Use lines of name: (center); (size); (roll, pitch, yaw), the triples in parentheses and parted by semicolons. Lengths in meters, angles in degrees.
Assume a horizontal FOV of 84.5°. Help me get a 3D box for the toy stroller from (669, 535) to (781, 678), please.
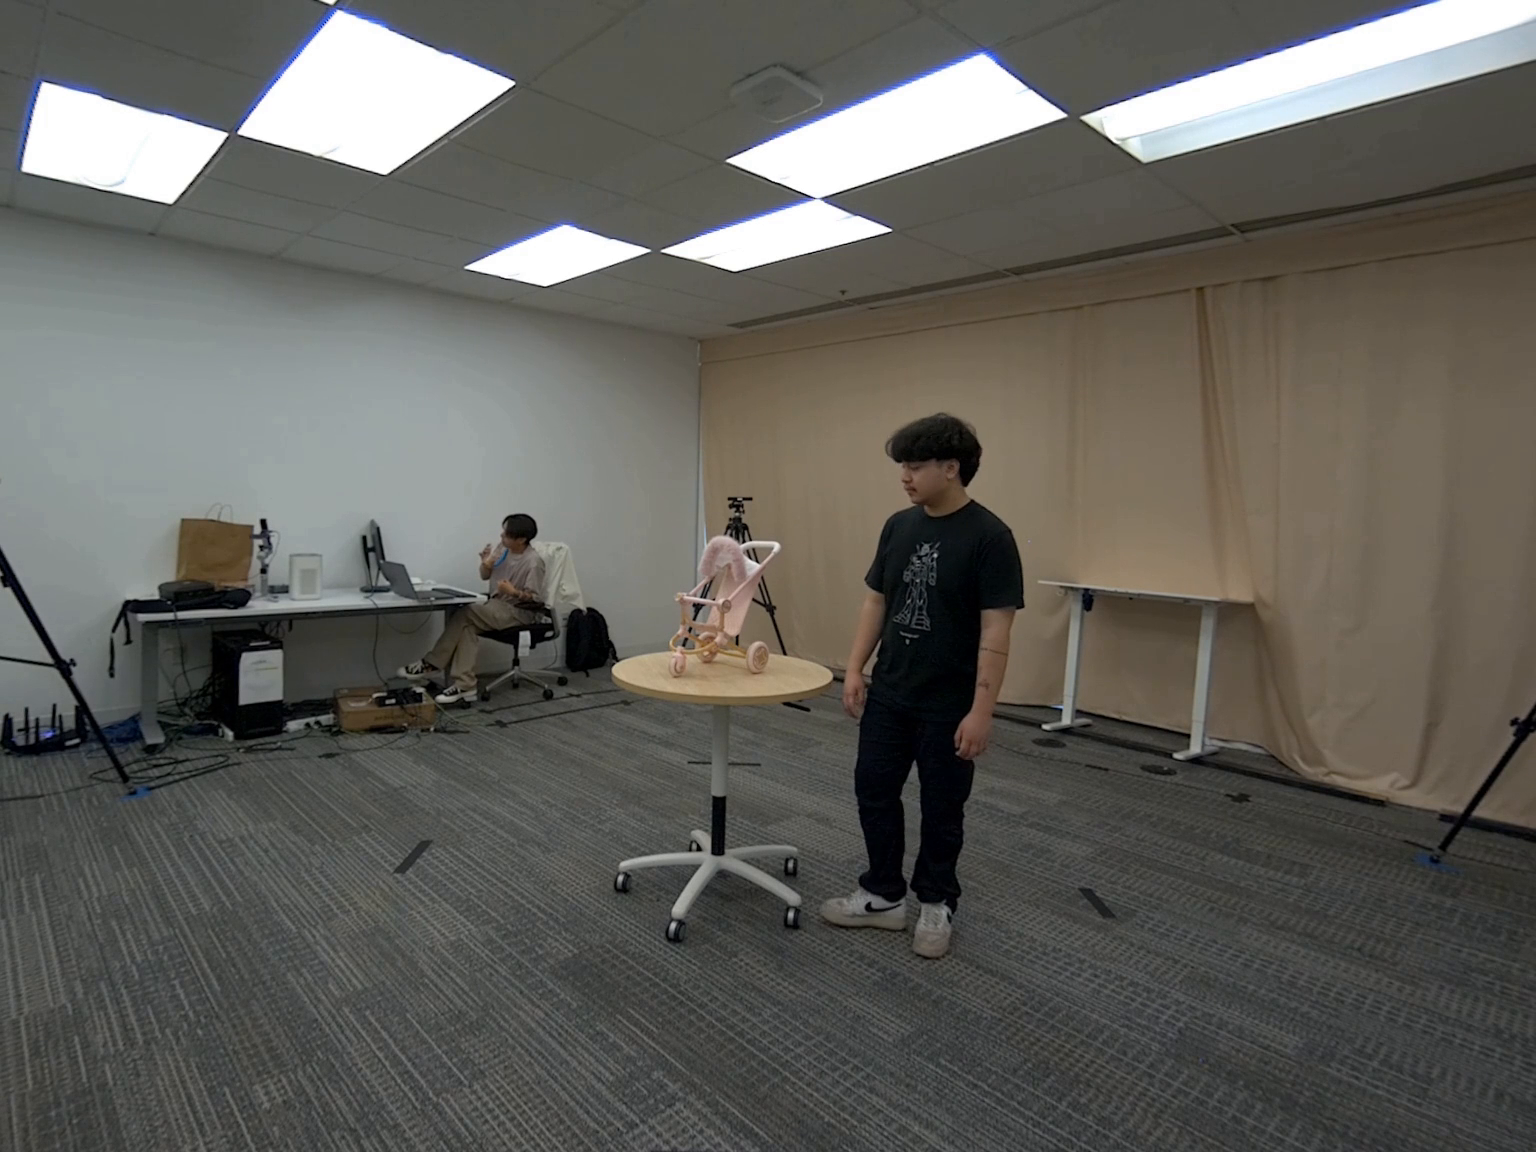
toy stroller: (-0.179, 0.103, 2.928); (0.331, 0.537, 0.288); (17, -9, -42)
